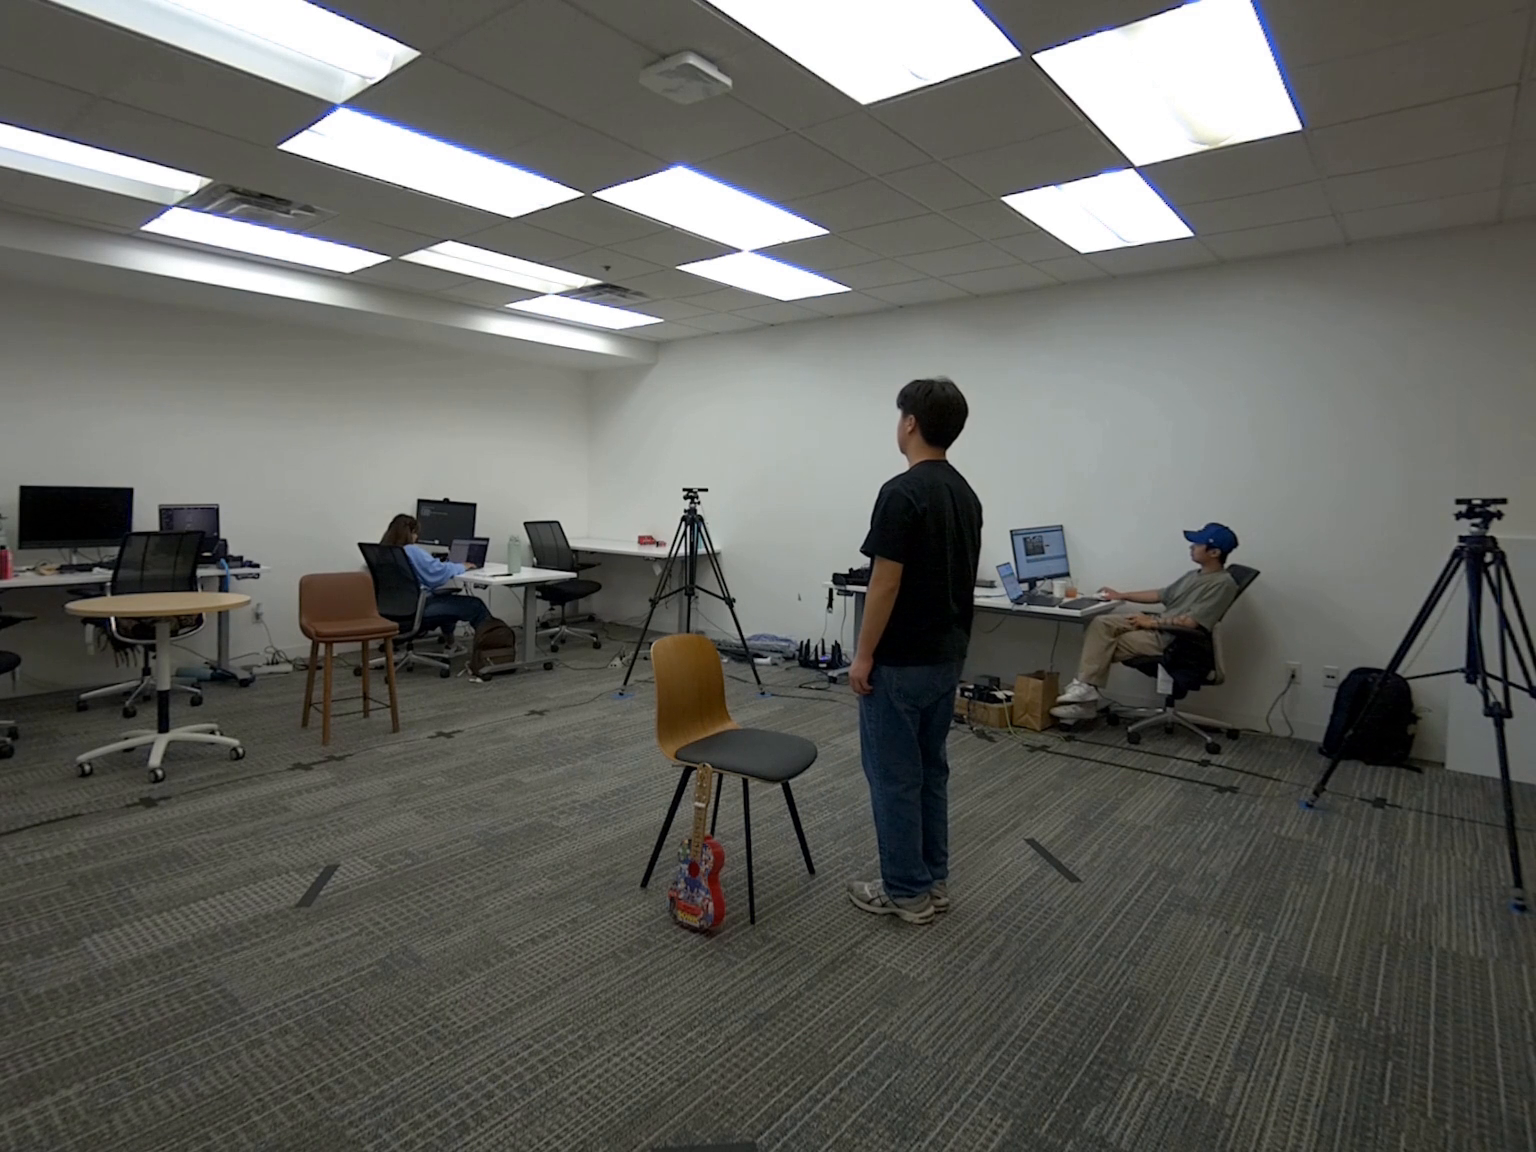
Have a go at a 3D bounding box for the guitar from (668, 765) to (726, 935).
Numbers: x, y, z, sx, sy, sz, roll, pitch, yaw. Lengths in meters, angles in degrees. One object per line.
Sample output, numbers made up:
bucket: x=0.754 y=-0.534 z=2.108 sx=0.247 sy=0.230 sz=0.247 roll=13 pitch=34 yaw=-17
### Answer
guitar: x=-0.196 y=0.865 z=2.707 sx=0.200 sy=0.499 sz=0.068 roll=12 pitch=-4 yaw=37
